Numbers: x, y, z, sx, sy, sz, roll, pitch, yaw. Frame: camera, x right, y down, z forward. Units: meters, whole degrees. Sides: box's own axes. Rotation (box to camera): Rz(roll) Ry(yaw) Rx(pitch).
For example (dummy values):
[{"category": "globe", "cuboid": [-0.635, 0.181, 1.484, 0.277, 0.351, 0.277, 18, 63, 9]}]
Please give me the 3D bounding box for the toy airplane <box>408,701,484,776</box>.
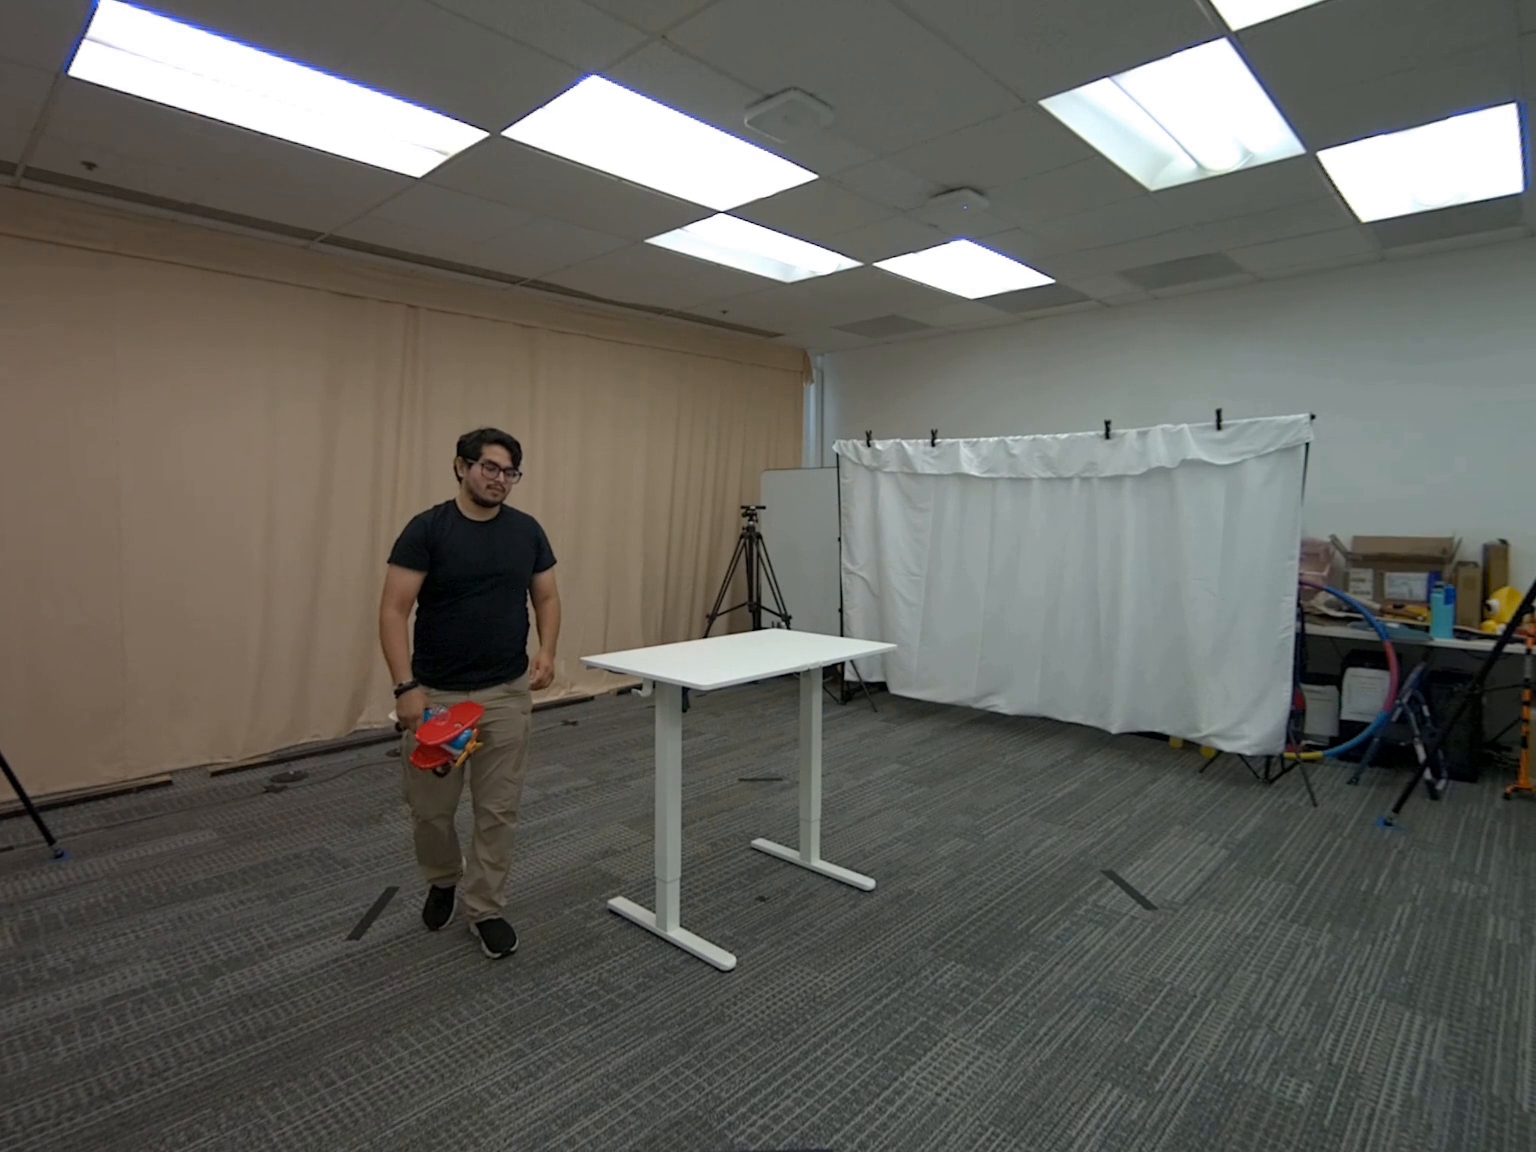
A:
[{"category": "toy airplane", "cuboid": [-0.970, 0.453, 2.399, 0.253, 0.157, 0.256, 33, 23, -21]}]
